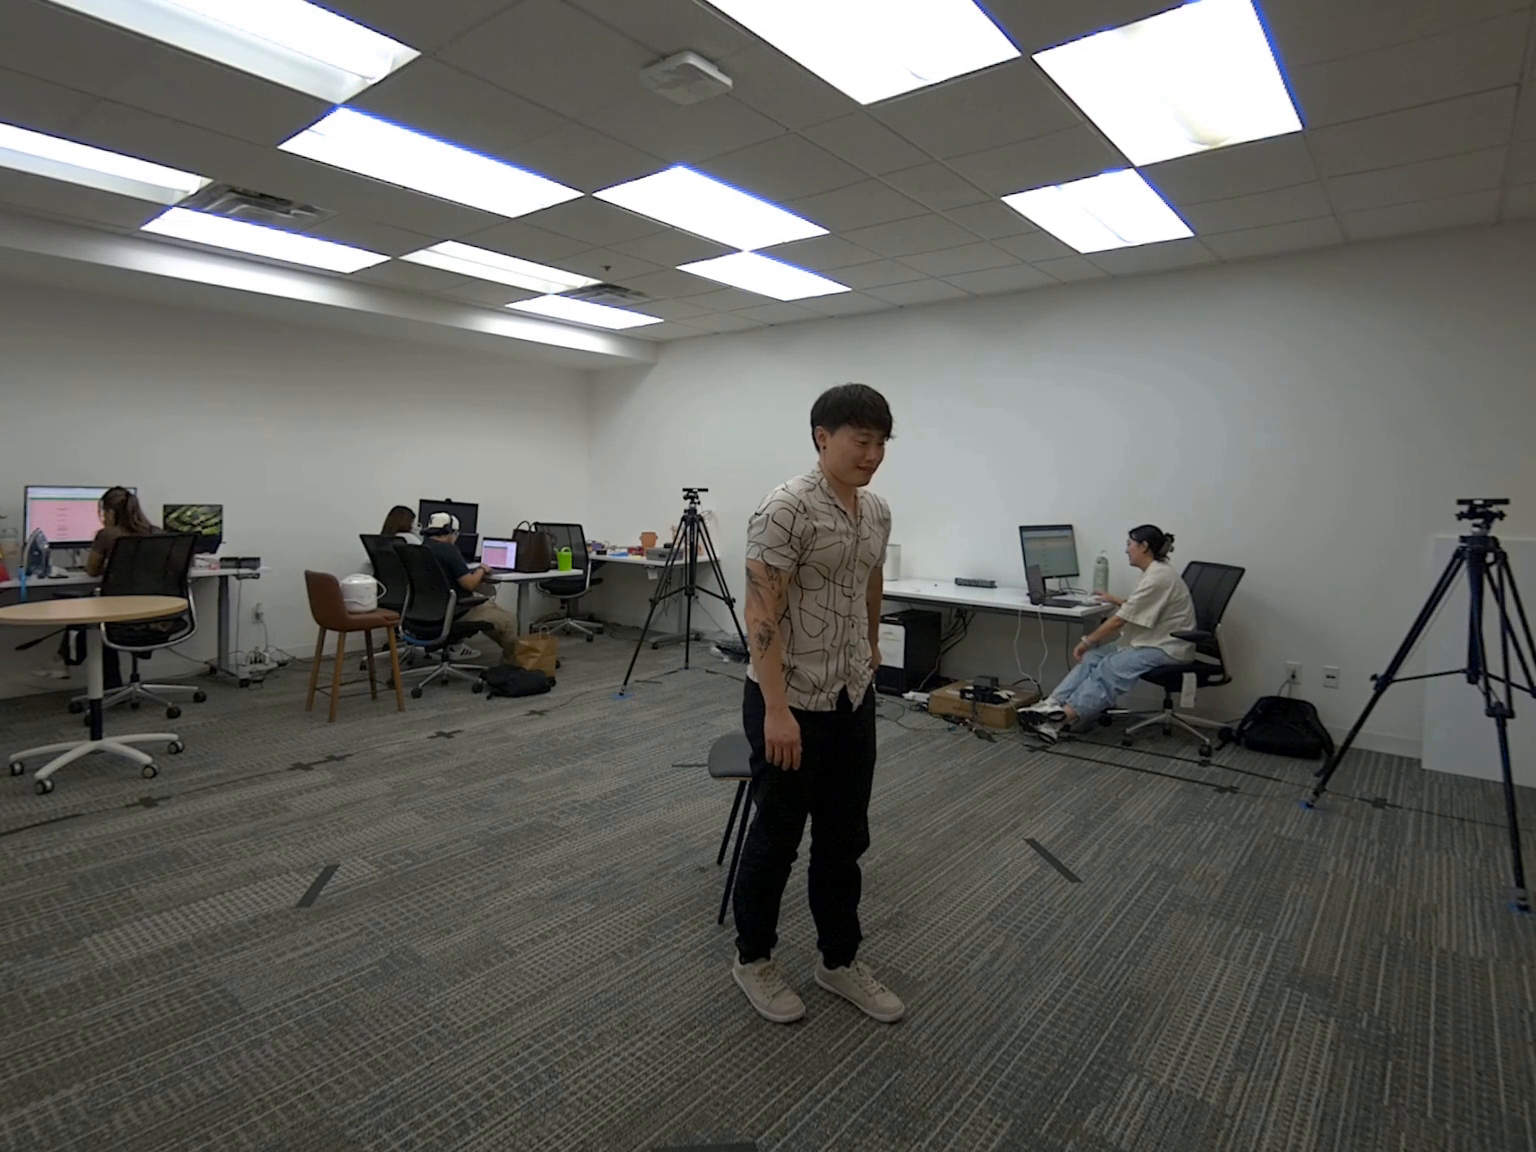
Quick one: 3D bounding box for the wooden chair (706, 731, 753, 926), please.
[{"bbox_3d":[0.048,0.665,2.907,0.522,0.875,0.480,5,4,-2],"label":"wooden chair"}]
